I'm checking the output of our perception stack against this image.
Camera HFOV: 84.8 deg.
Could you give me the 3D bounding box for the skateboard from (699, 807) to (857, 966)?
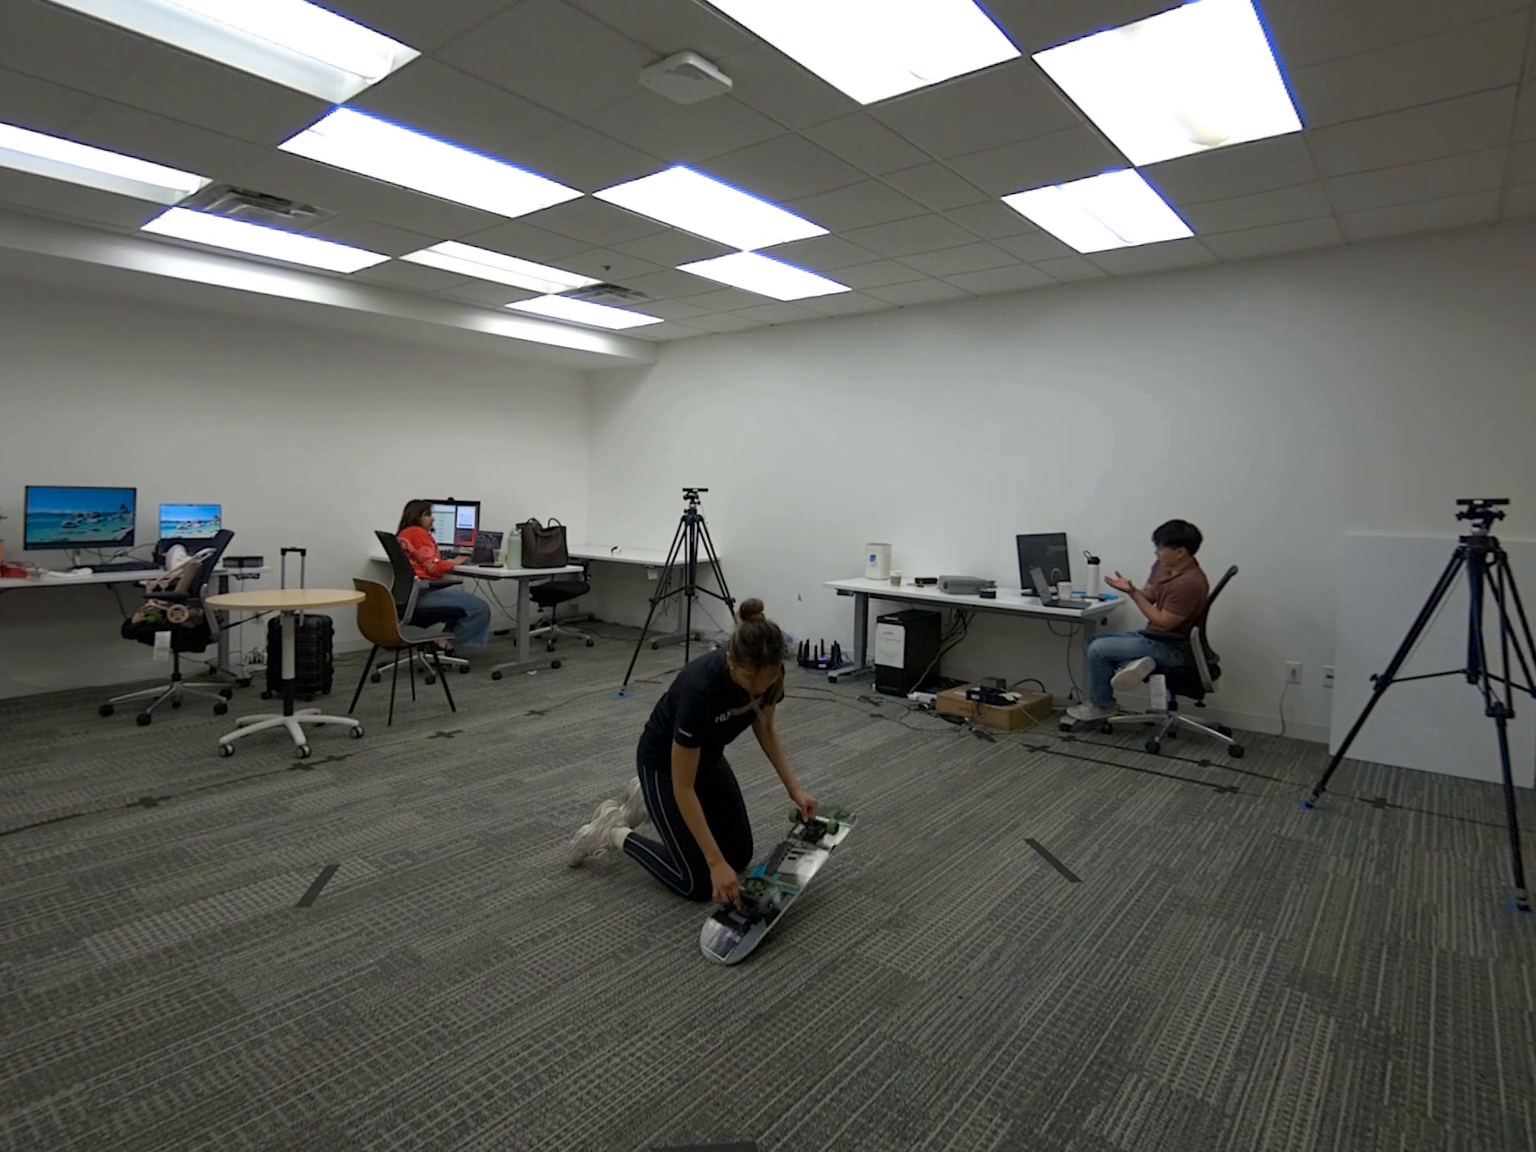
[{"bbox_3d":[0.040,0.939,2.762,0.200,0.108,0.774,8,26,37],"label":"skateboard"}]
